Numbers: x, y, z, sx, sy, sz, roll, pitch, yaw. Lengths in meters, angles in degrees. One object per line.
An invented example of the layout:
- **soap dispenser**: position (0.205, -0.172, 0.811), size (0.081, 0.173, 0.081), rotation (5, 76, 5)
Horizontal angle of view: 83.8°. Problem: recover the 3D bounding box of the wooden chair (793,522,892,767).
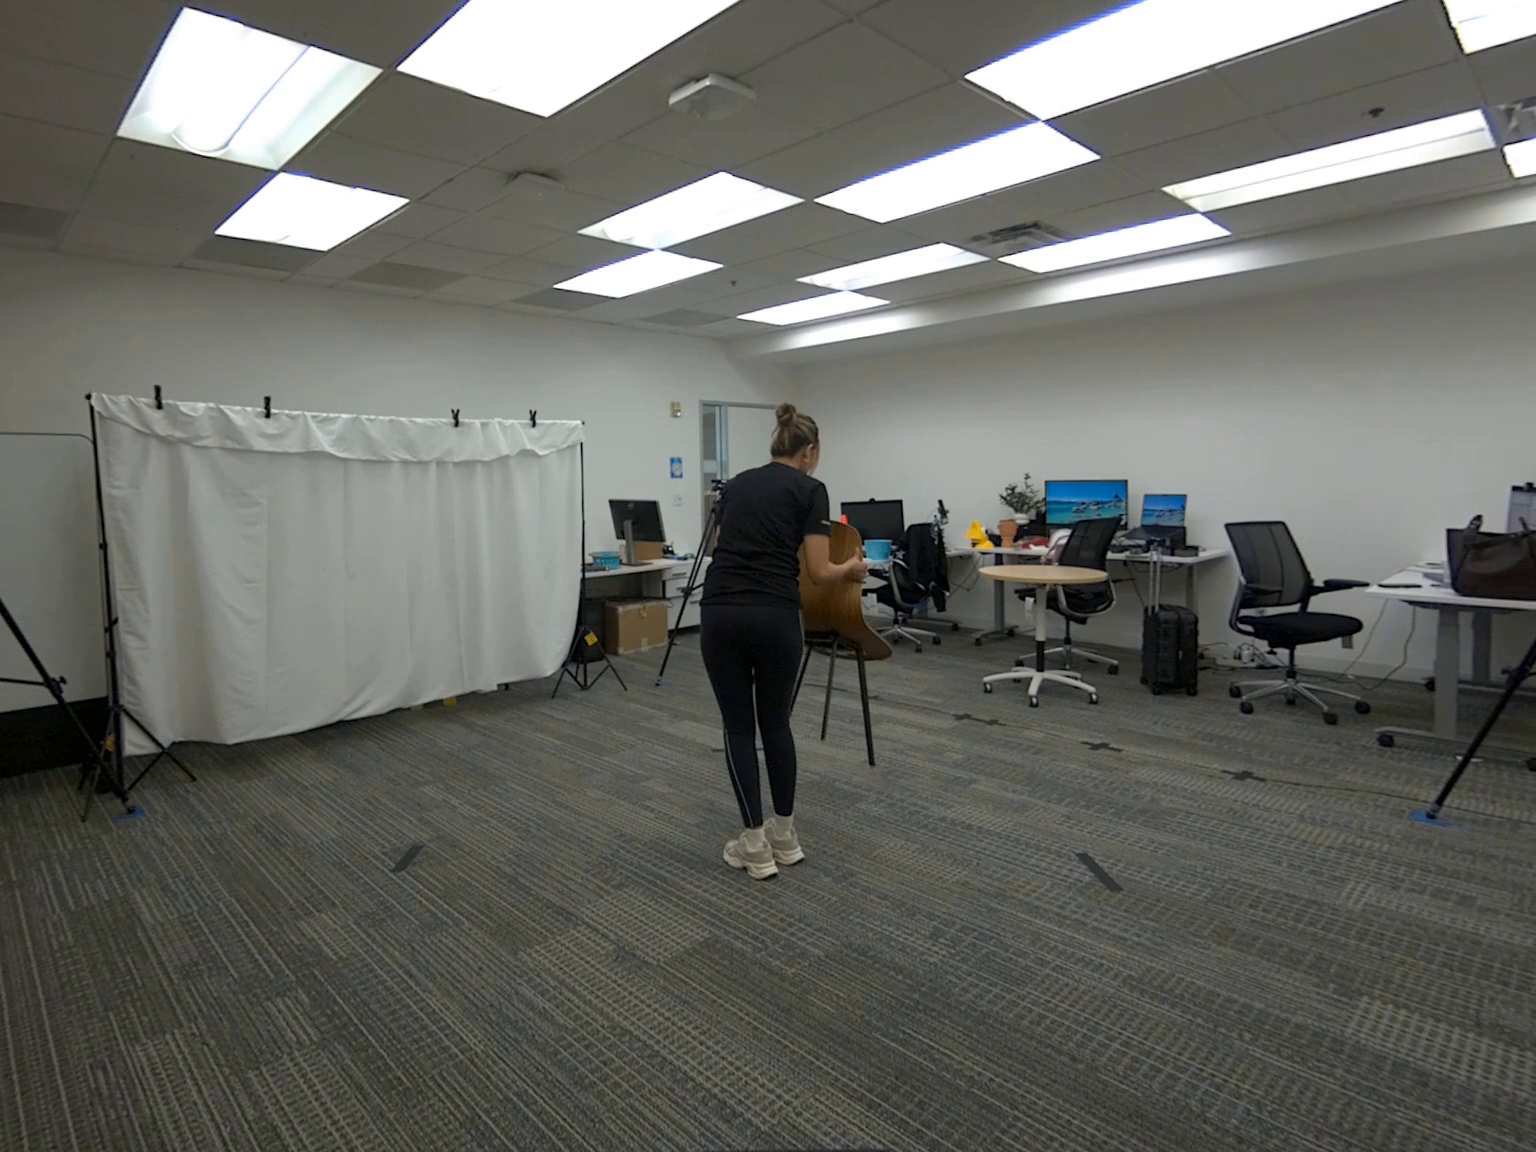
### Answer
- **wooden chair**: position (0.224, 0.269, 3.472), size (0.491, 0.887, 0.503), rotation (0, -19, 33)
